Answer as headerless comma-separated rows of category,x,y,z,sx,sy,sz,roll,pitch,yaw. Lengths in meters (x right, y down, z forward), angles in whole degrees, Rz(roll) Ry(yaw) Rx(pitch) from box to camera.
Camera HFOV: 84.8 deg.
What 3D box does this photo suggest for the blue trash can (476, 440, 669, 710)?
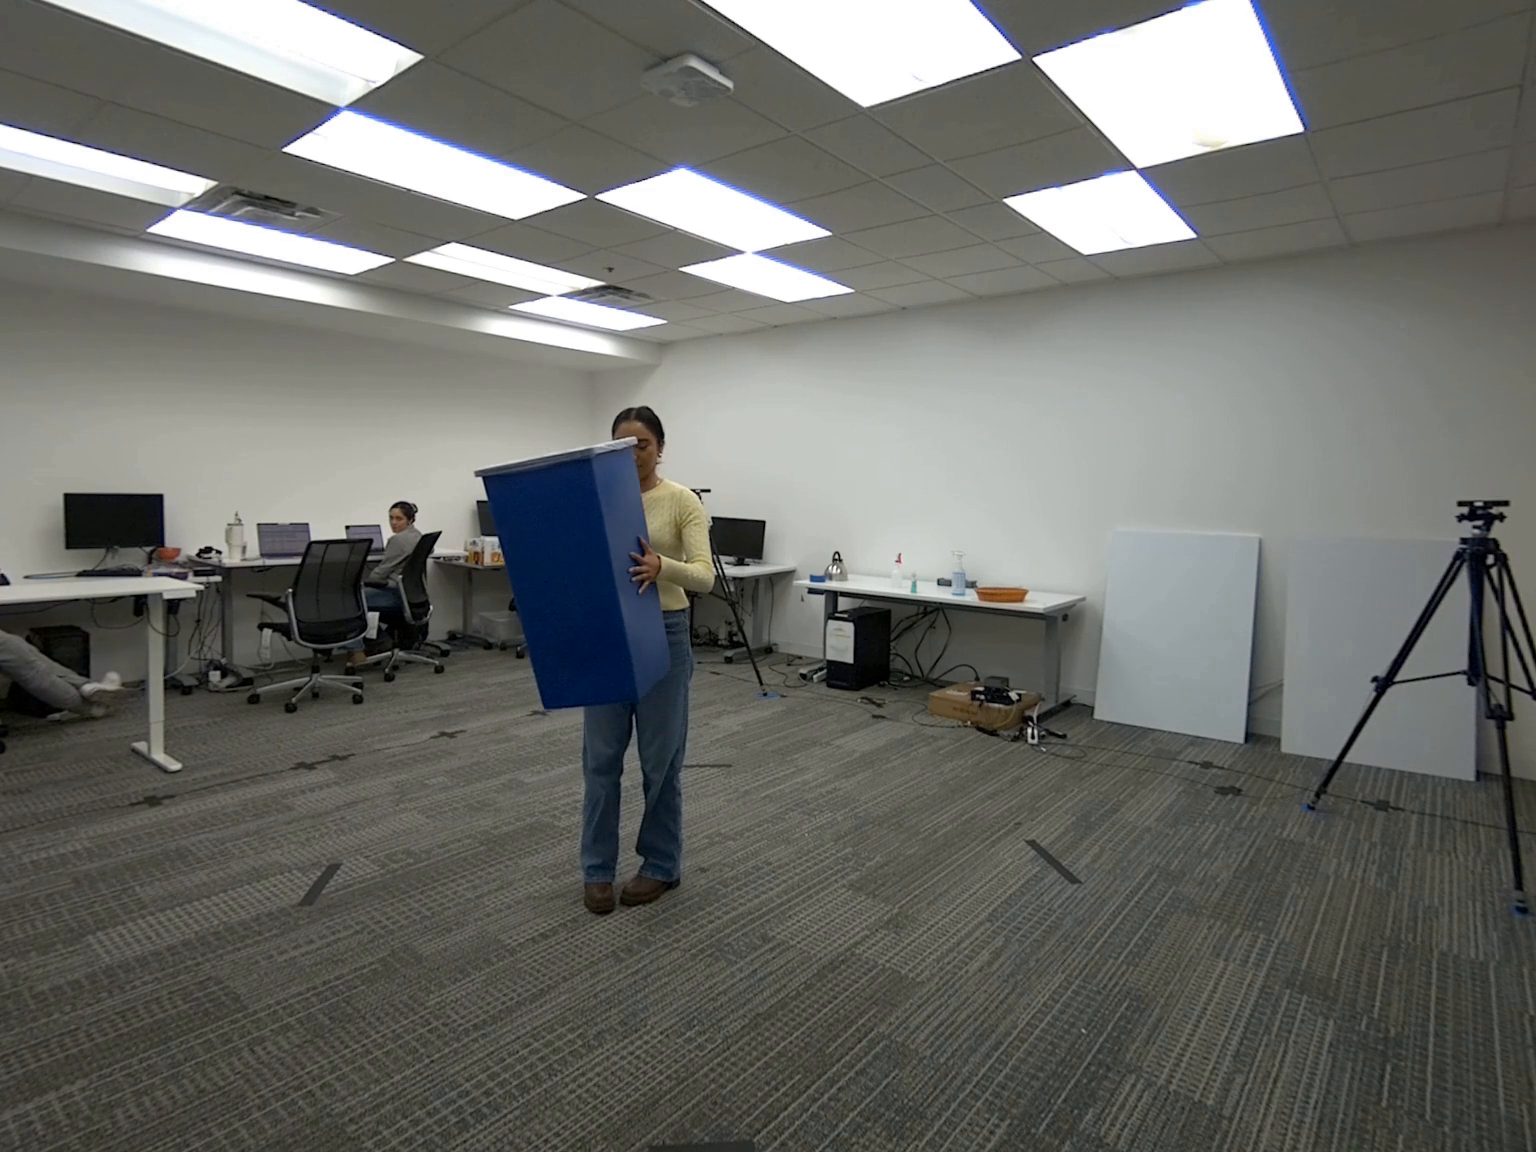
blue trash can,-0.549,-0.015,2.482,0.383,0.707,0.372,-9,8,15
